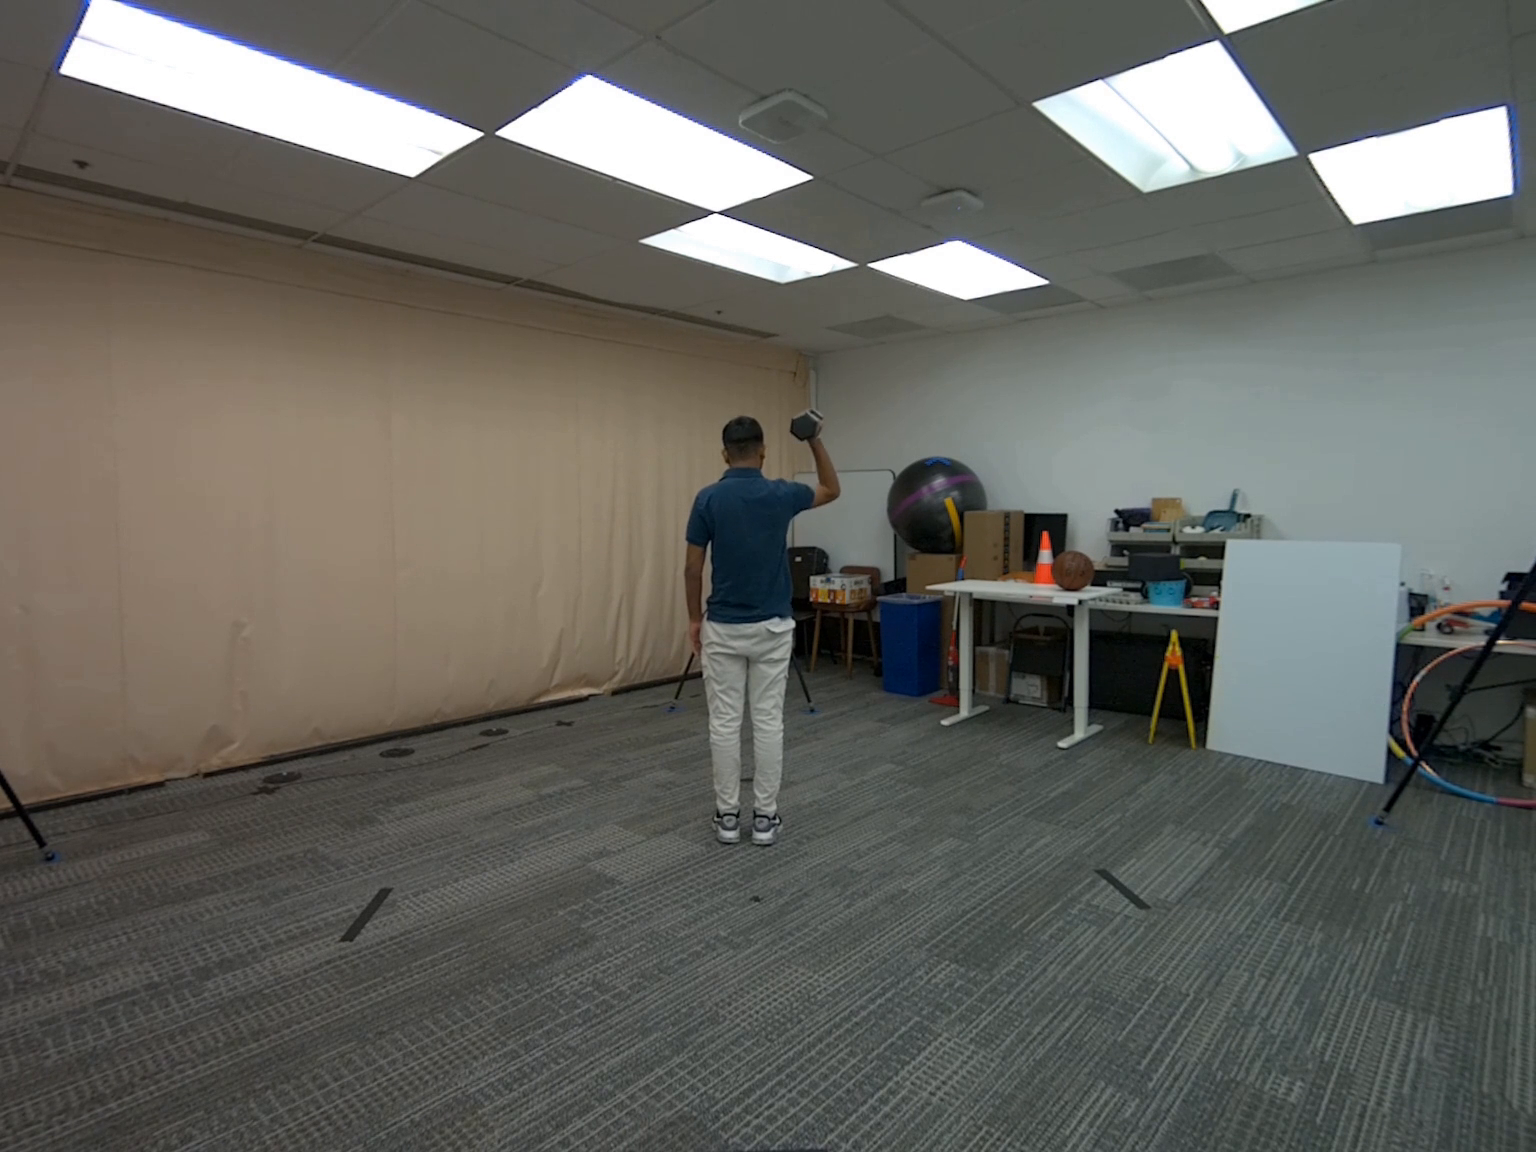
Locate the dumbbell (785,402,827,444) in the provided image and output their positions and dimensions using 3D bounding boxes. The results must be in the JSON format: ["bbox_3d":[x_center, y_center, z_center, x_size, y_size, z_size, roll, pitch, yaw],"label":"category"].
[{"bbox_3d":[0.161,-0.649,3.565,0.124,0.107,0.293,-17,12,12],"label":"dumbbell"}]
